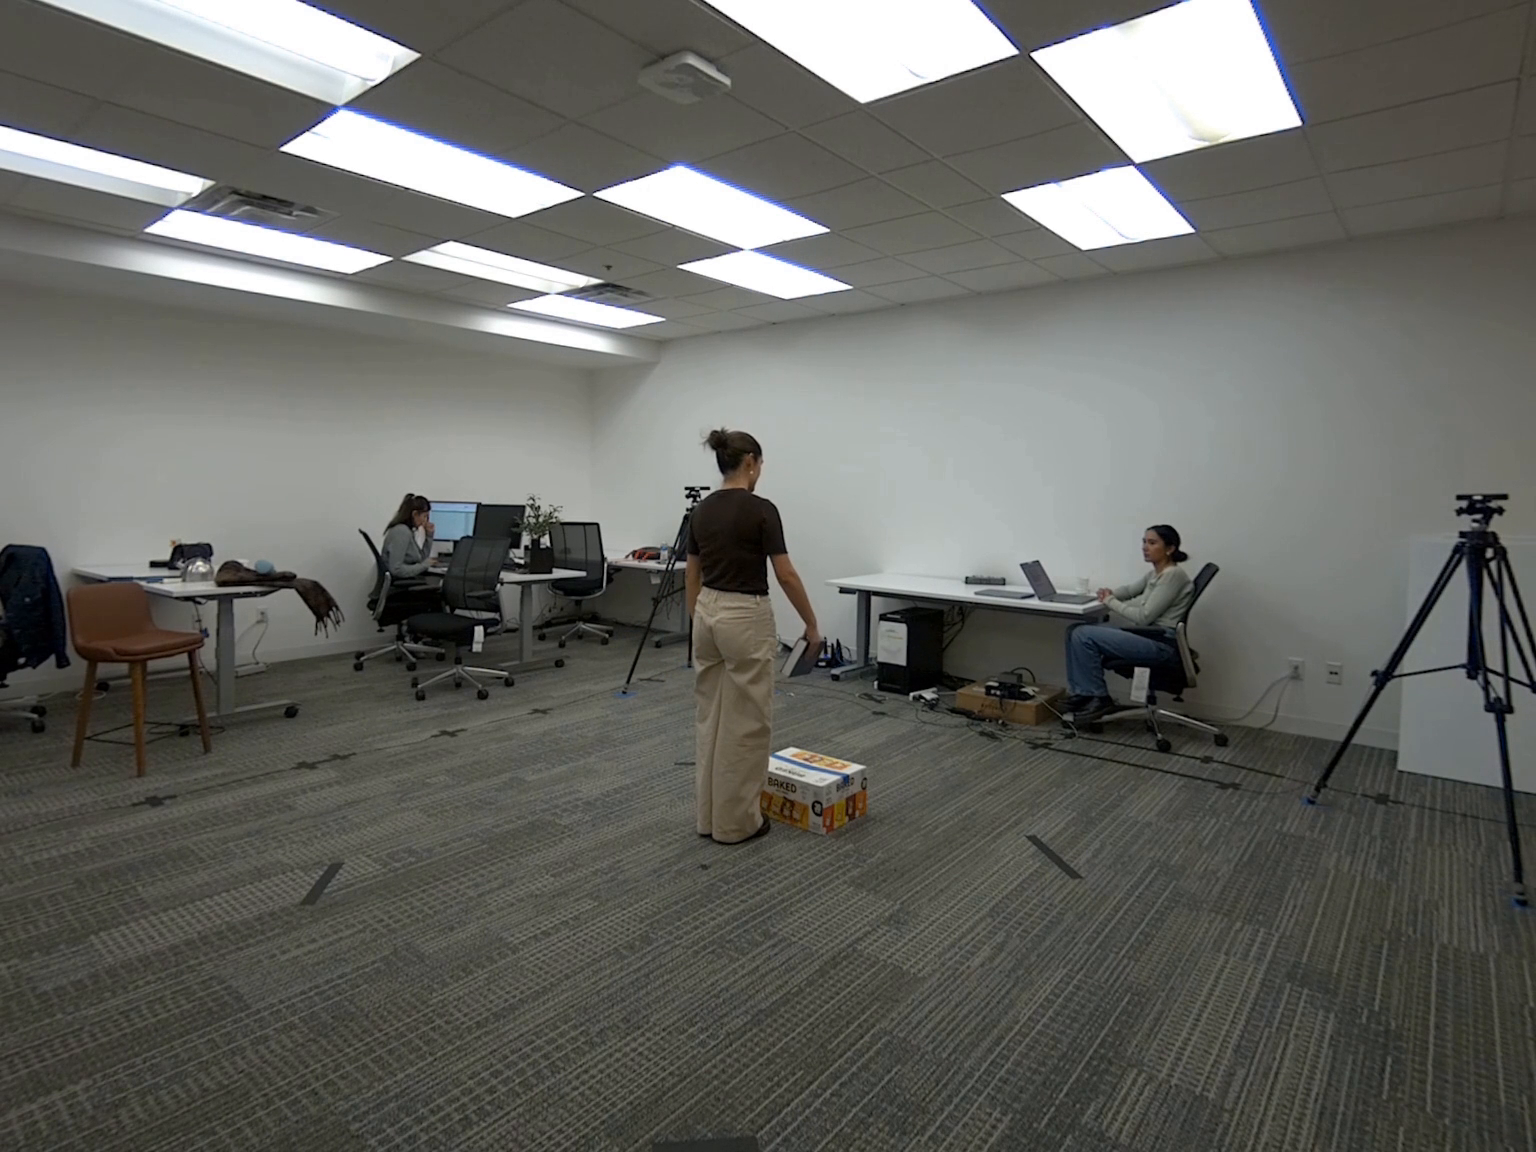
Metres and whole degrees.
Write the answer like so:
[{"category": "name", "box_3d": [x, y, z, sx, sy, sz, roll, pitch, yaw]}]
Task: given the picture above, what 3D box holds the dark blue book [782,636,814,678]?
[{"category": "dark blue book", "box_3d": [0.133, 0.323, 3.437, 0.046, 0.163, 0.238, 31, 11, 22]}]
